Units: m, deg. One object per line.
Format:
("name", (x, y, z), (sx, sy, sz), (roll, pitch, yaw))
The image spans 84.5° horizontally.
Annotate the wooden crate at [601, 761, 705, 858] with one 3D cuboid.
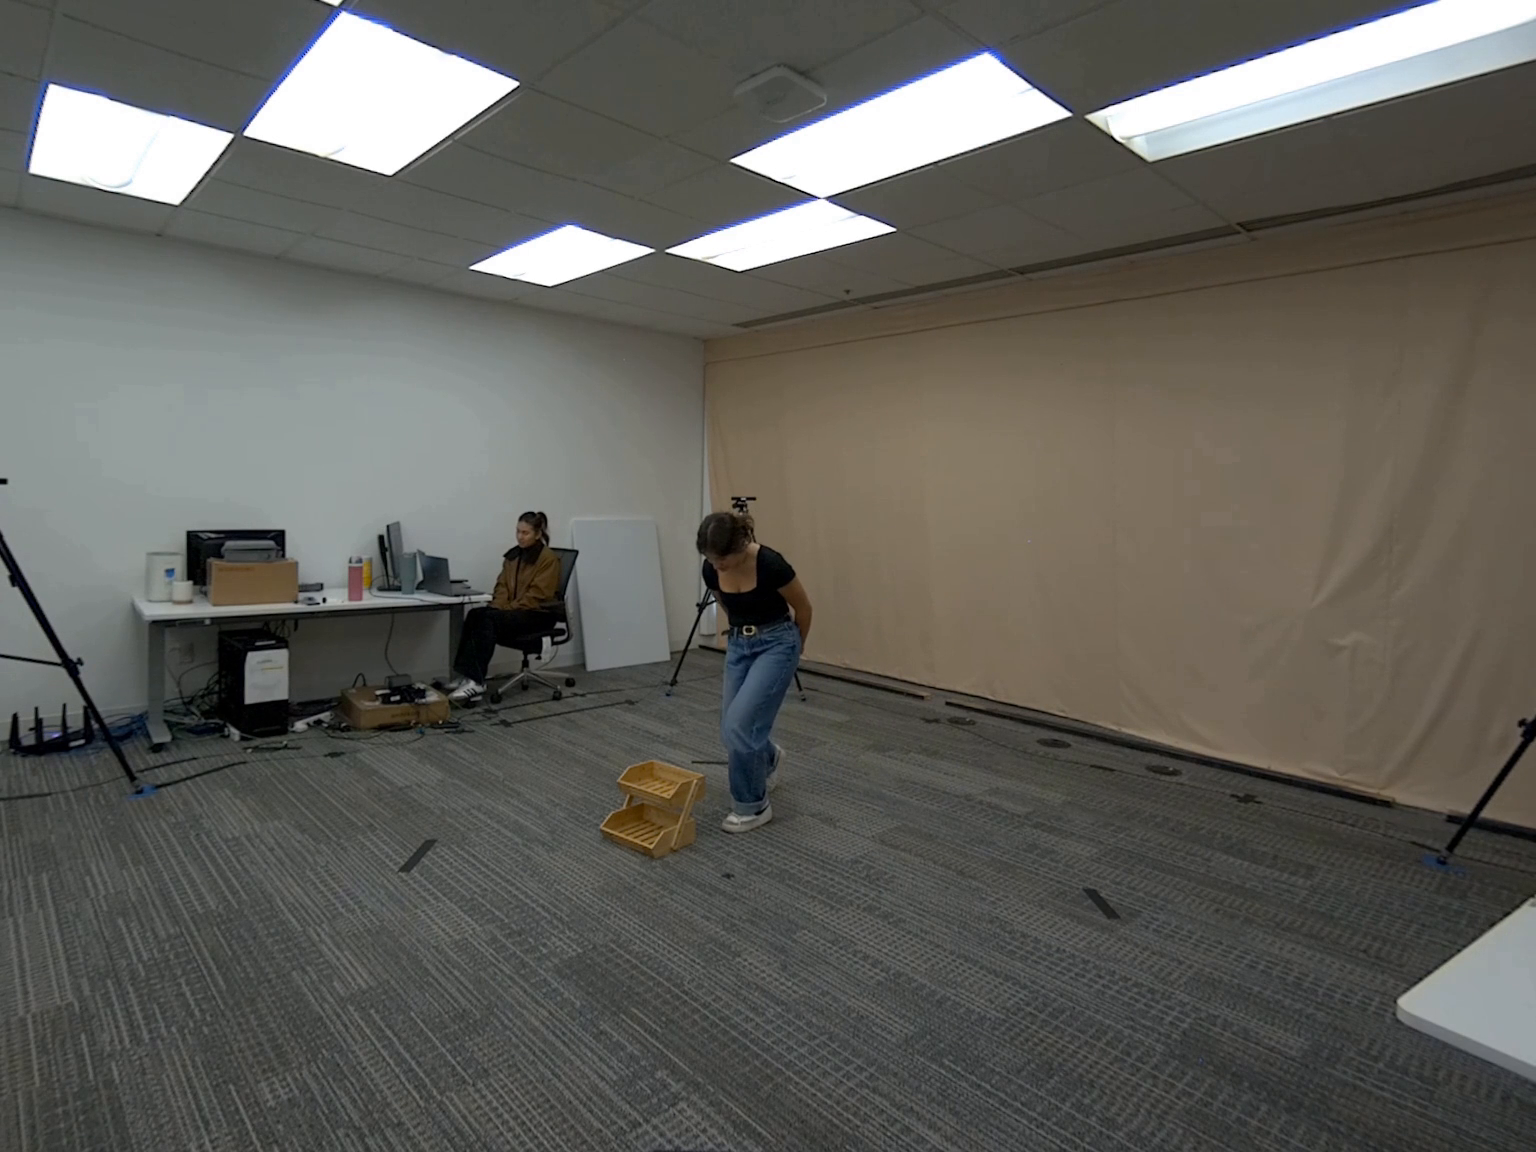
("wooden crate", (-0.482, 0.940, 3.425), (0.332, 0.273, 0.295), (5, 5, 38))
